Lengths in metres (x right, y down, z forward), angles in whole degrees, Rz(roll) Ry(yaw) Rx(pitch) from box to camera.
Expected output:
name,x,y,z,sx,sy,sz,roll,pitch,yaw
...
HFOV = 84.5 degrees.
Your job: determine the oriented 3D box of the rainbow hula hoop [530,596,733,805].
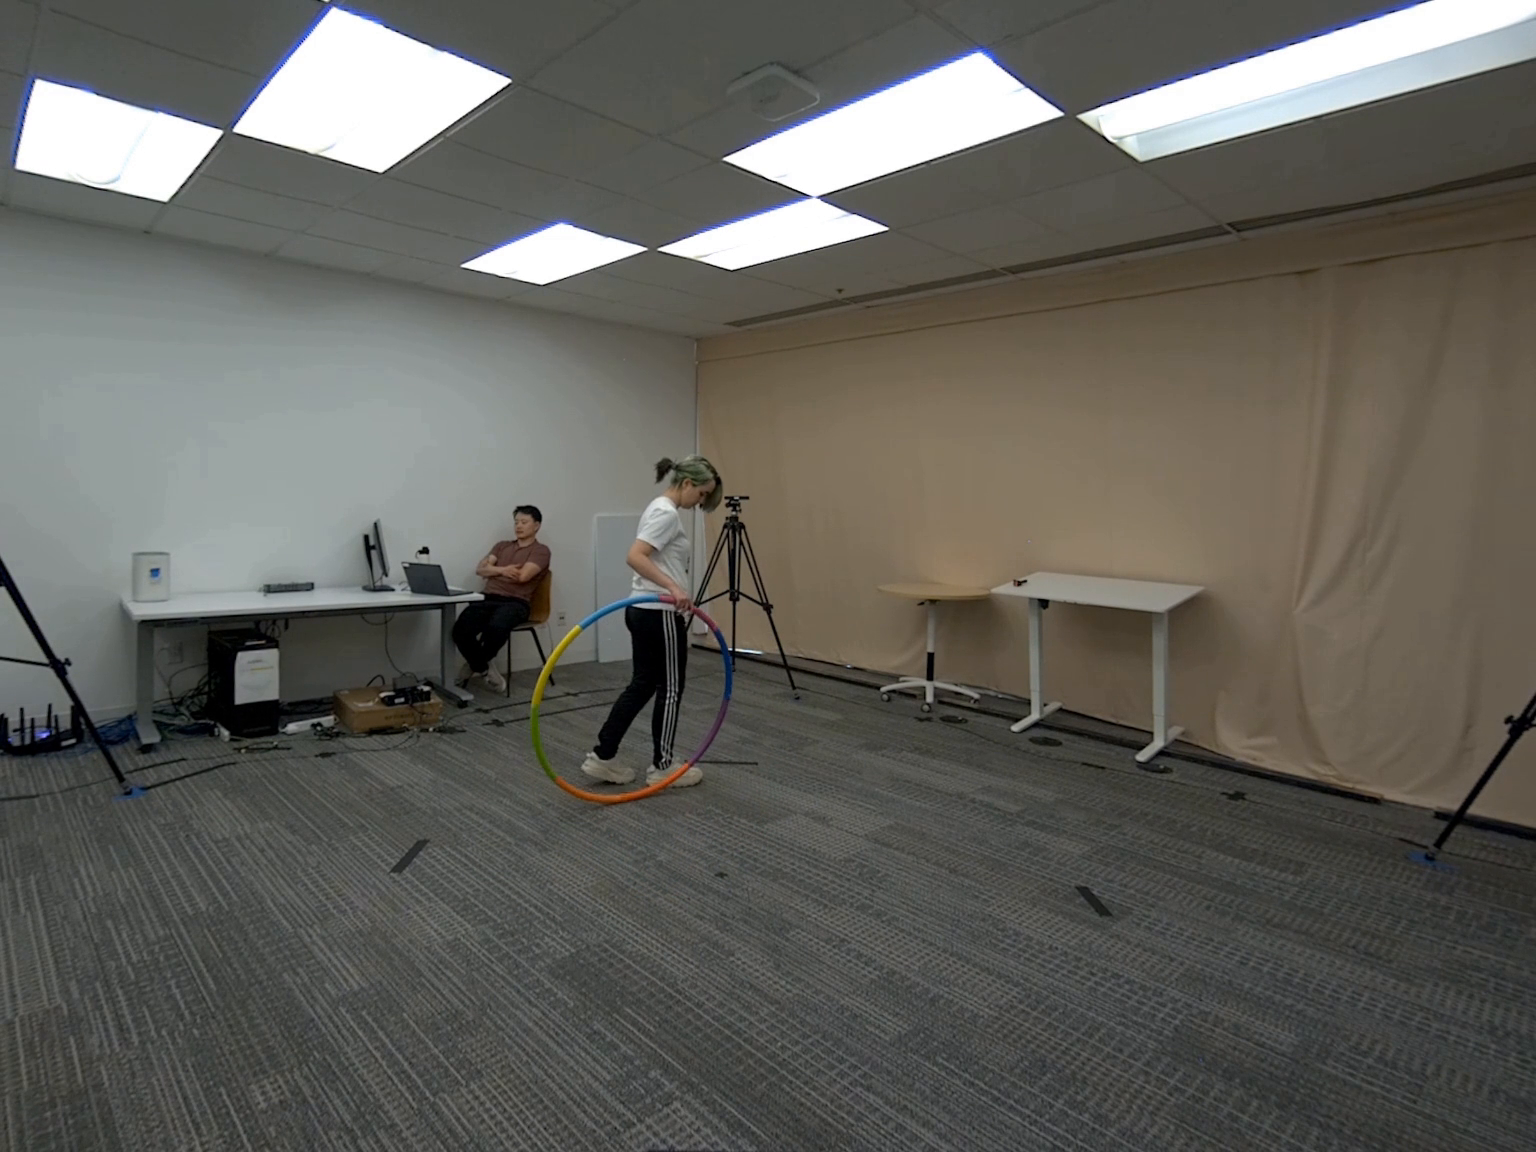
name,x,y,z,sx,sy,sz,roll,pitch,yaw
rainbow hula hoop,-0.580,0.553,3.742,0.958,0.970,0.036,-1,16,-34
